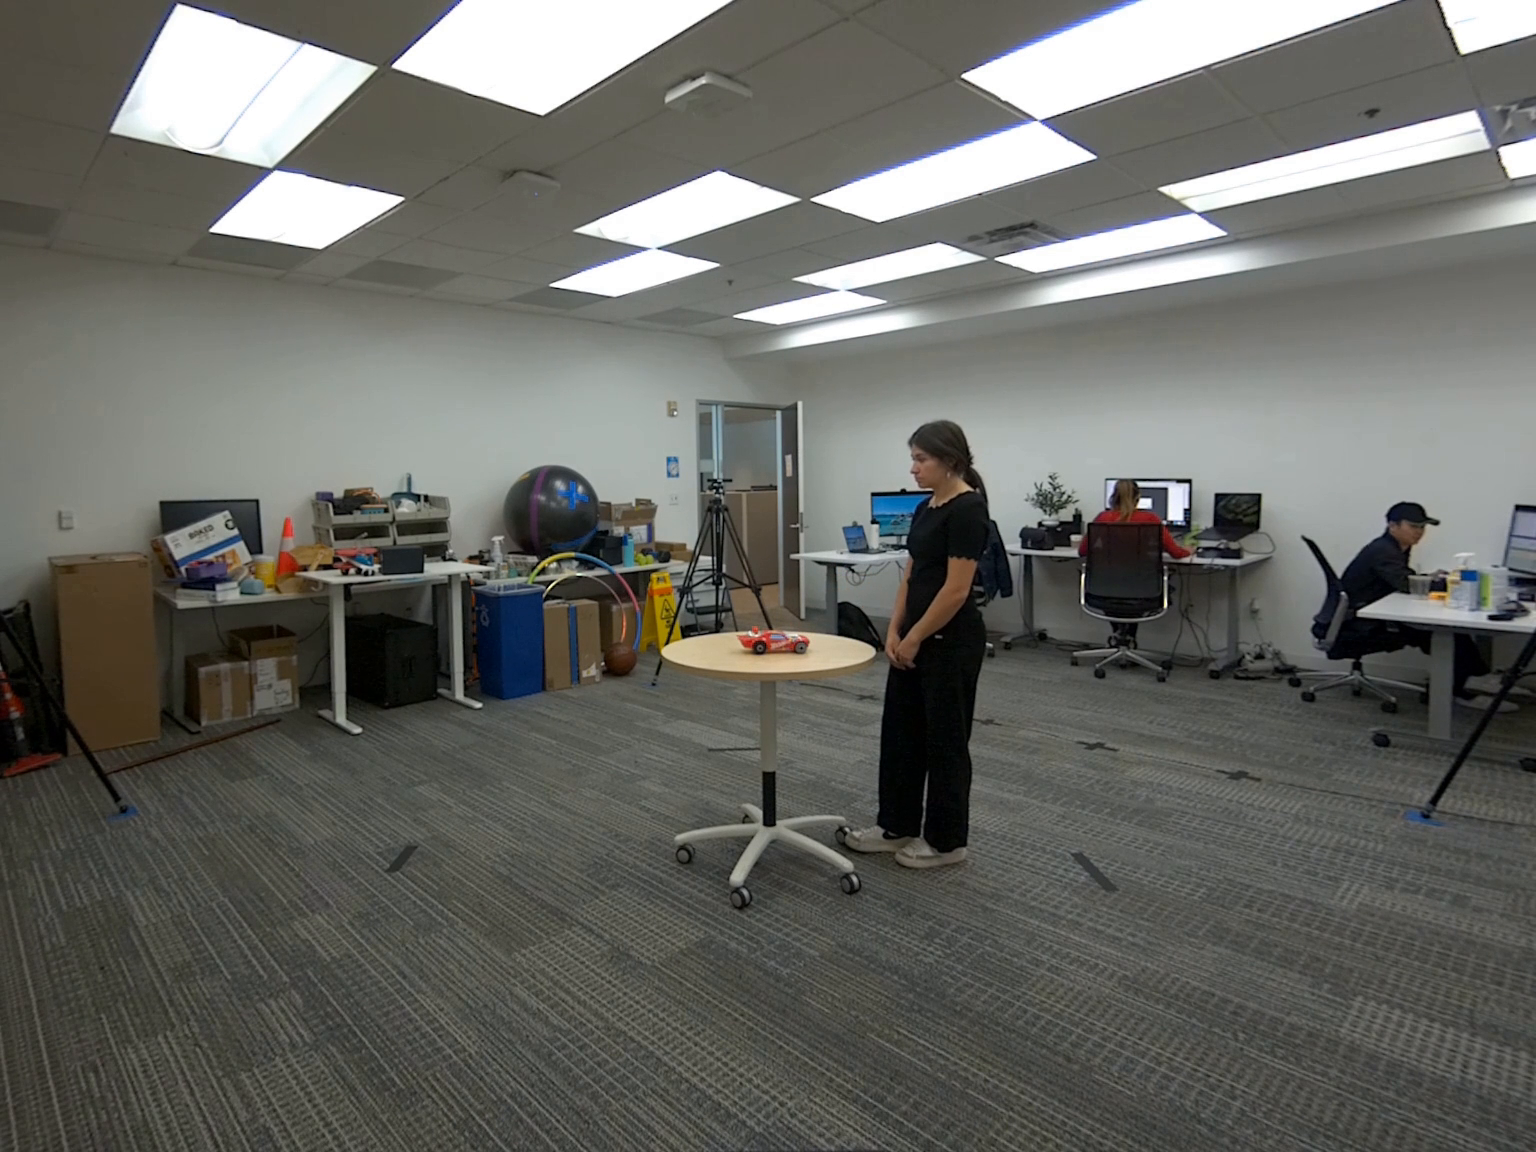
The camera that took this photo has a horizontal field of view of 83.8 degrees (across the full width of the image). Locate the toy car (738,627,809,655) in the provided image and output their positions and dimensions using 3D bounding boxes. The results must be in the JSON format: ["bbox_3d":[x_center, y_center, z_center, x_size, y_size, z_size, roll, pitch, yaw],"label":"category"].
[{"bbox_3d":[0.017,0.234,3.027,0.253,0.083,0.131,11,4,-4],"label":"toy car"}]
